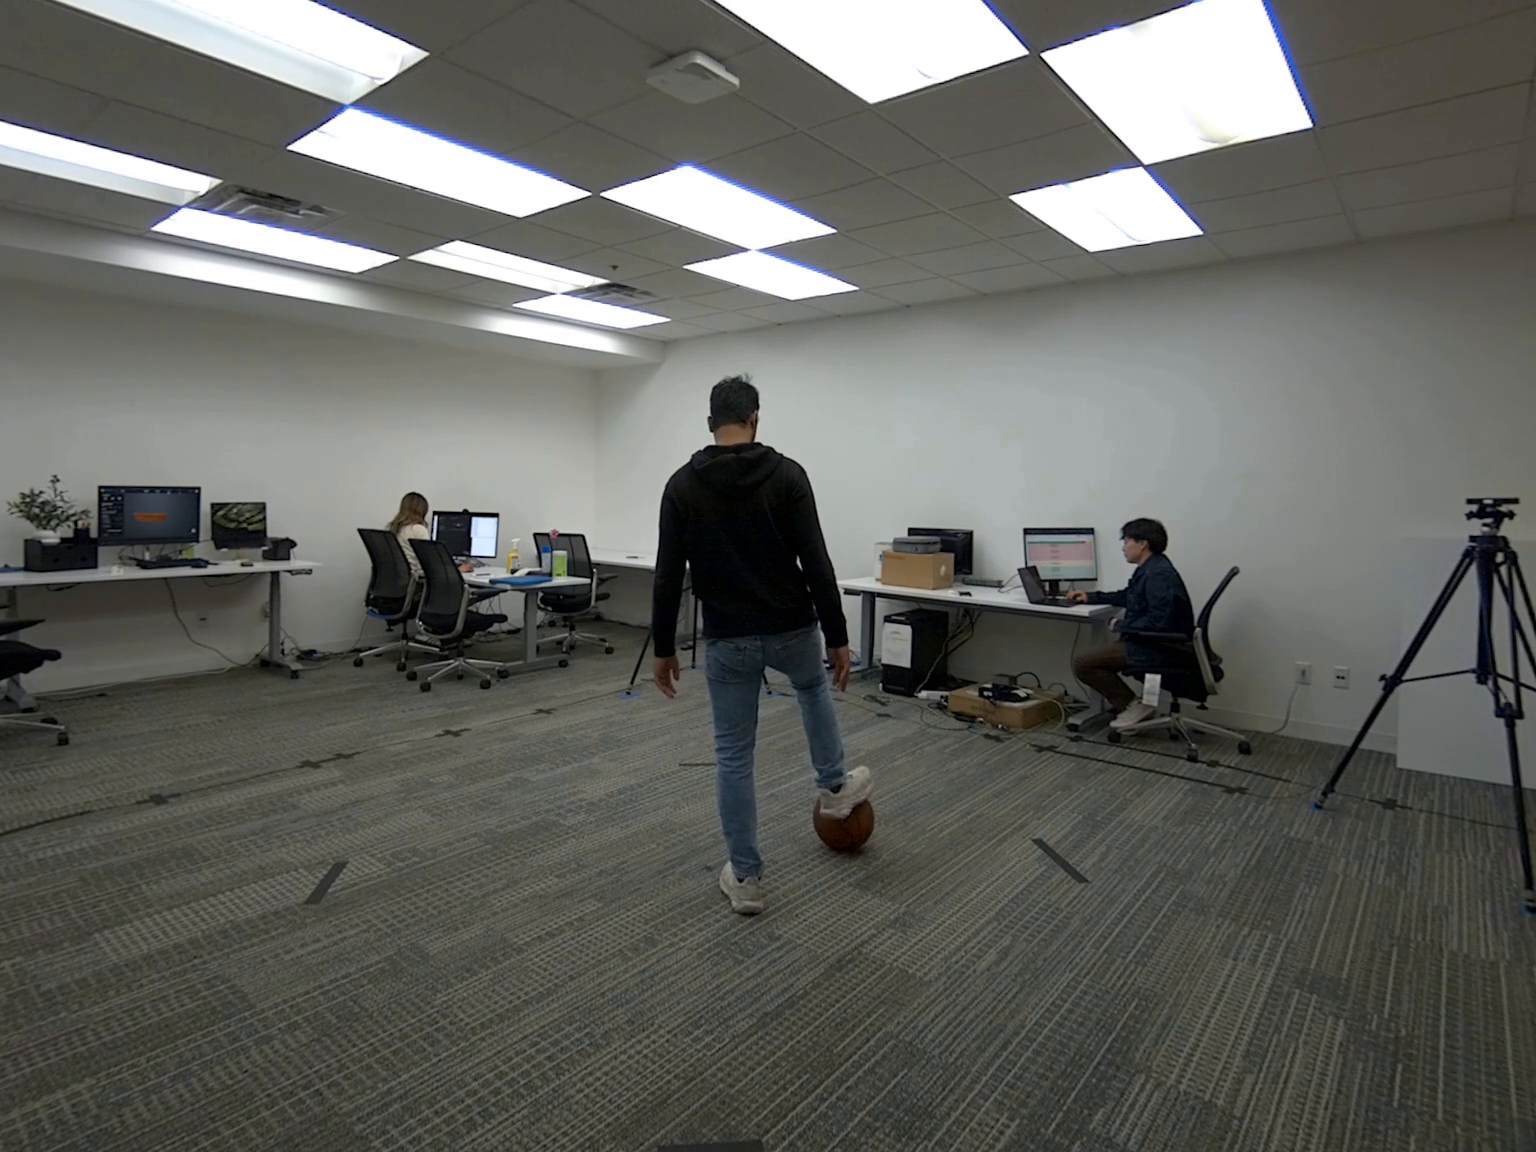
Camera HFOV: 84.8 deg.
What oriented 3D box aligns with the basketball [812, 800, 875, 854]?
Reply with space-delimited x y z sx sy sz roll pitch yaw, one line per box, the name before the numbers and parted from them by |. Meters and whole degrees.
basketball | 0.277 0.936 3.318 0.235 0.235 0.237 1 4 -2
